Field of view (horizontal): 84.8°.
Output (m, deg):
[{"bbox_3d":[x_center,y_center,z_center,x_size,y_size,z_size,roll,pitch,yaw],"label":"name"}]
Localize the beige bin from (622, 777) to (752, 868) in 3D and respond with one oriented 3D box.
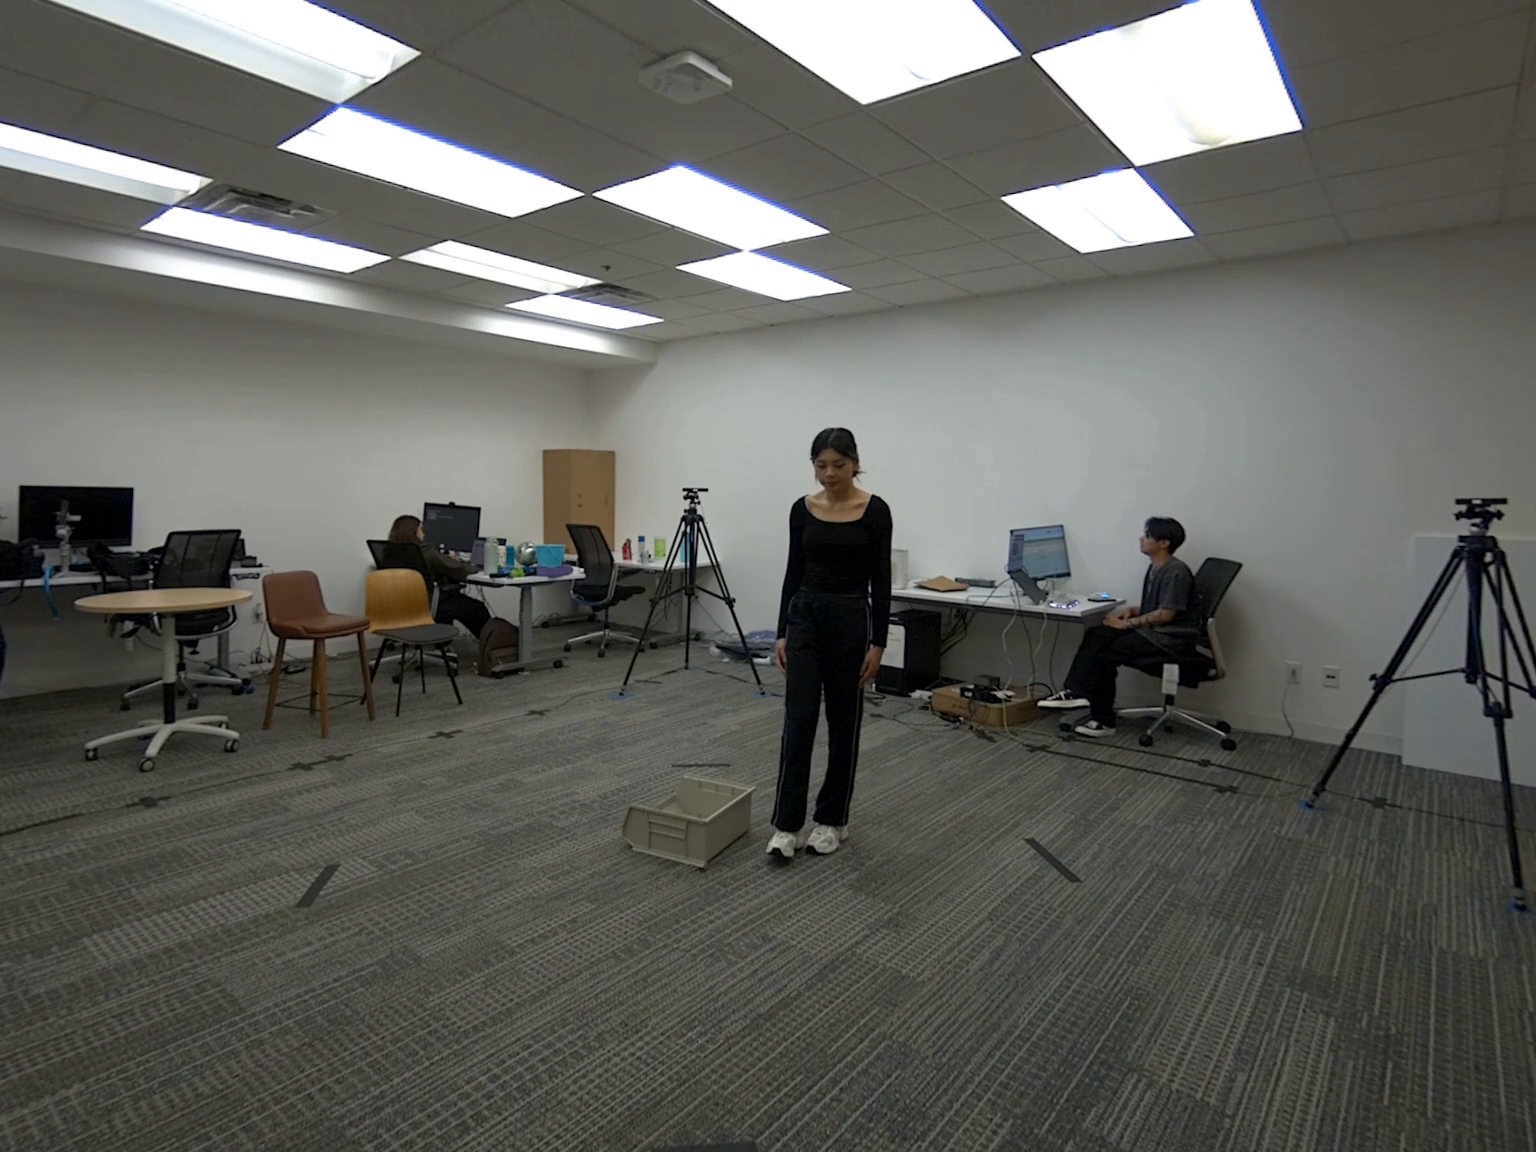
[{"bbox_3d":[-0.316,0.955,3.375,0.388,0.188,0.412,4,6,26],"label":"beige bin"}]
